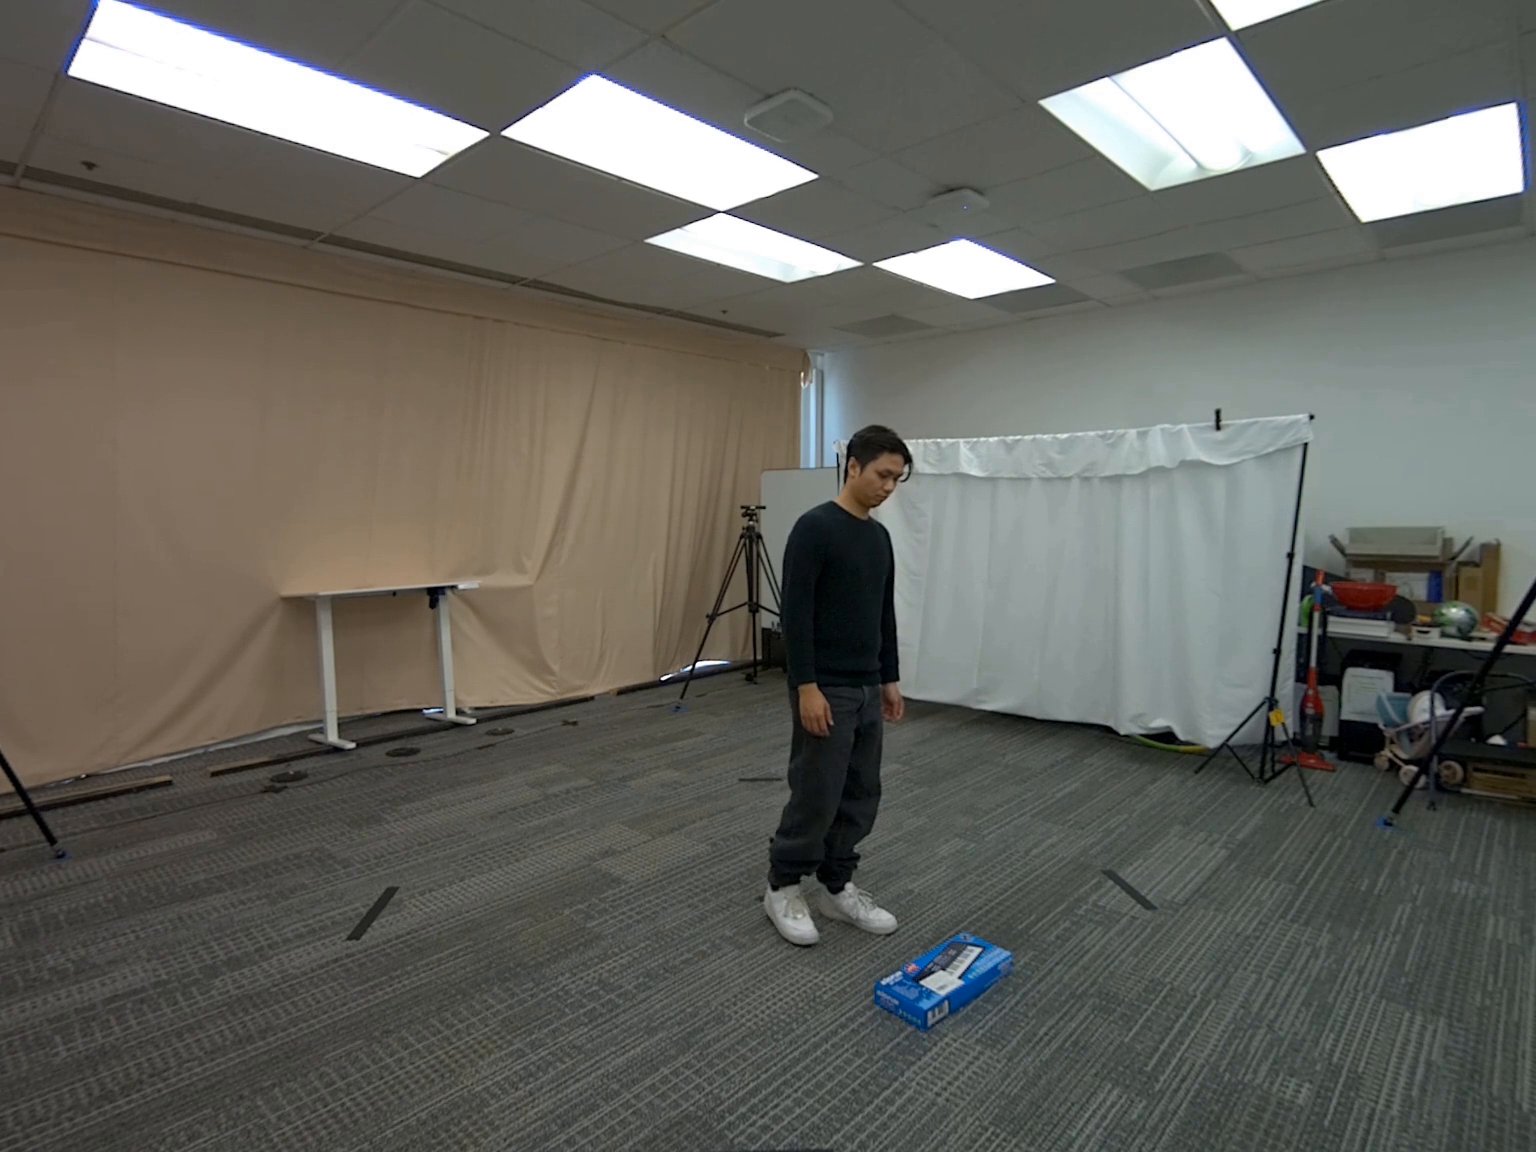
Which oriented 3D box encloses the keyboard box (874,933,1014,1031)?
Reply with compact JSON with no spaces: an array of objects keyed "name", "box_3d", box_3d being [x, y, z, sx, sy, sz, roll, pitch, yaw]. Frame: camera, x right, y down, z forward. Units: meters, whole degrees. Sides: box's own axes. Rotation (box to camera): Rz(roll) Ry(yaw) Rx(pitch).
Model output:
[{"name":"keyboard box","box_3d":[0.525,1.162,2.426,0.423,0.059,0.182,-5,7,-42]}]
